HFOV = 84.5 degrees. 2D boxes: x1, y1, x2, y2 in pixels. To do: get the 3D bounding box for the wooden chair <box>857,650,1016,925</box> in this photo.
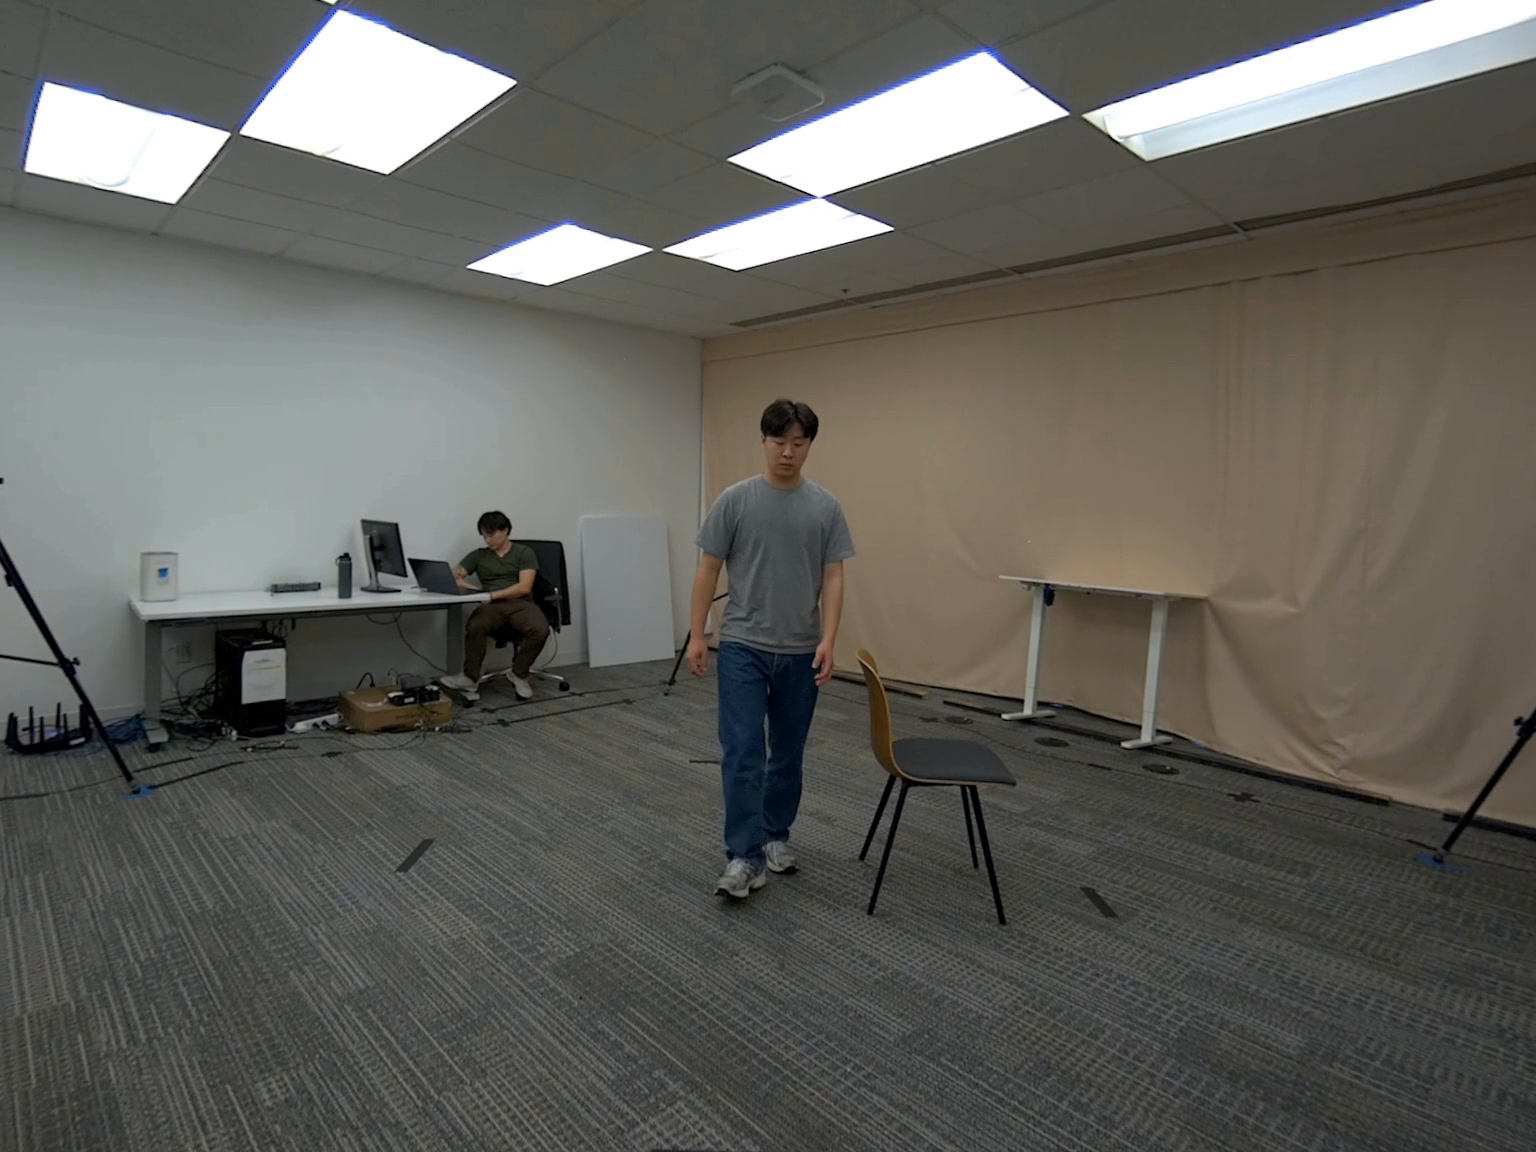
[{"bbox_3d":[0.583,0.705,3.008,0.525,0.876,0.477,-2,3,4],"label":"wooden chair"}]
